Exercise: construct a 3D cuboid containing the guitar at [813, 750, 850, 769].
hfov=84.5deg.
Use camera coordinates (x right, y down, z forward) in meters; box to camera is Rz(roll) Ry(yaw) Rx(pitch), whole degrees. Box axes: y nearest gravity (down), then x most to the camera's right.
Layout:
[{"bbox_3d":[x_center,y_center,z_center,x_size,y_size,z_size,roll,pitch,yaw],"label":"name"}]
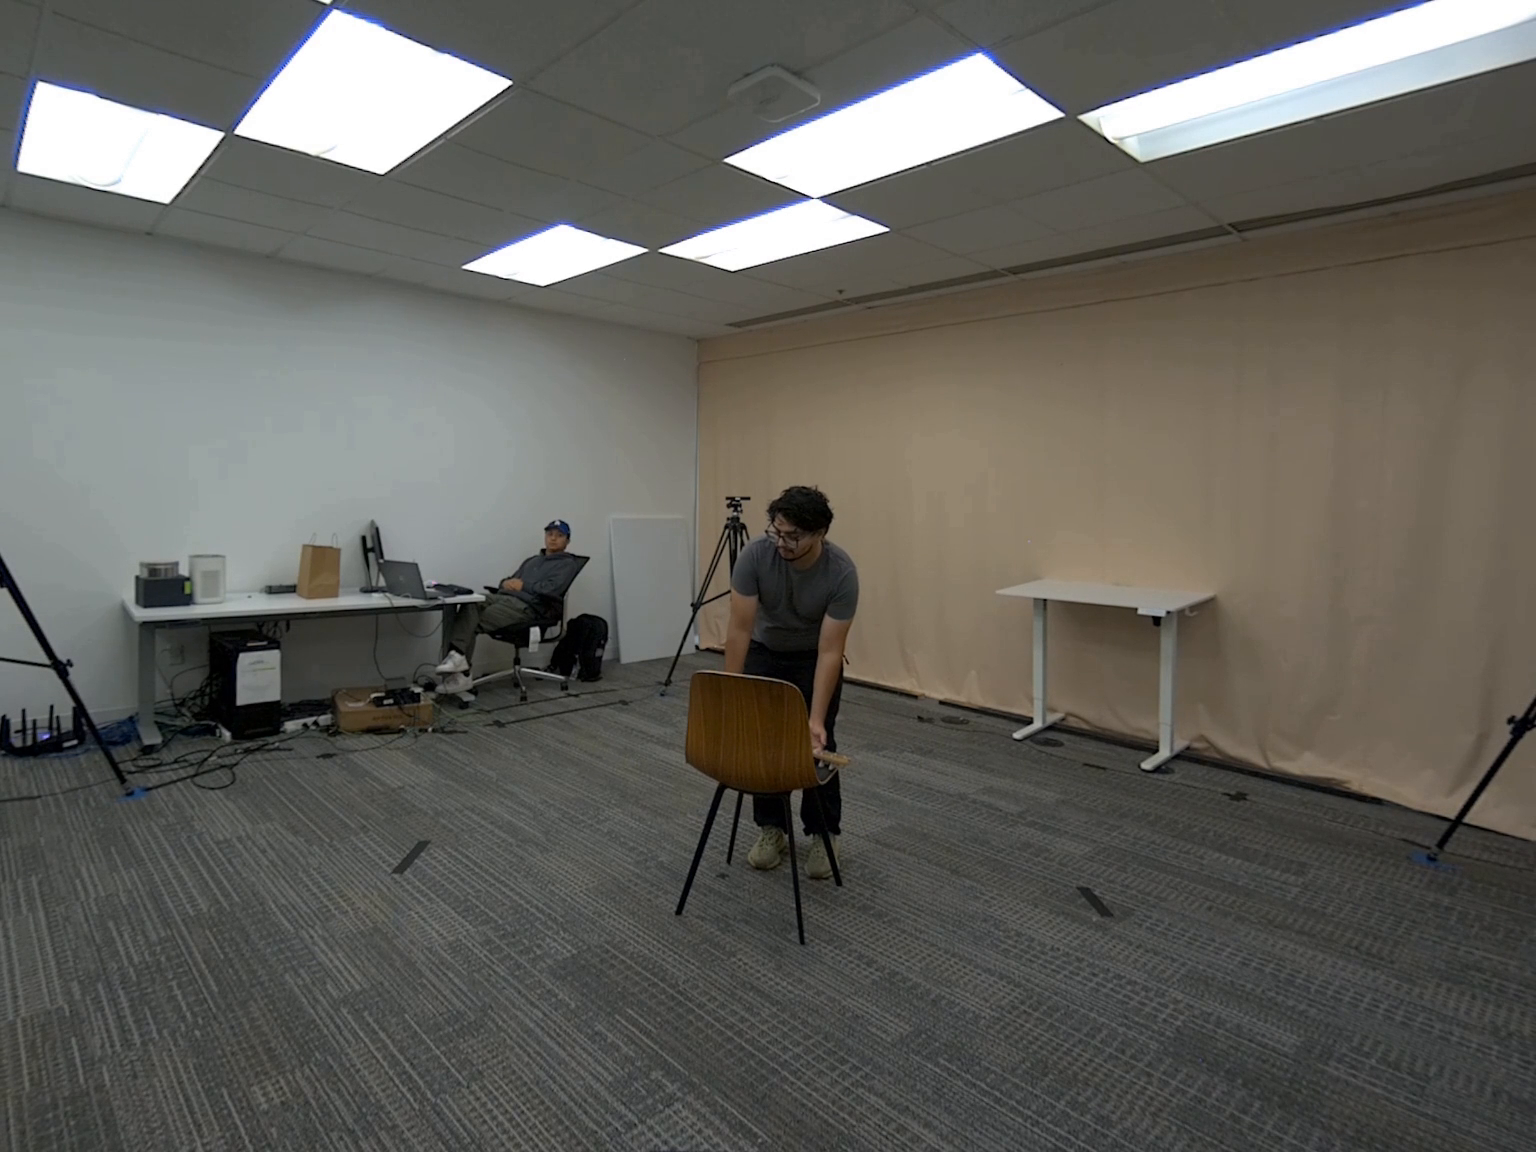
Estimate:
[{"bbox_3d":[0.048,0.622,2.923,0.189,0.070,0.511,-6,11,-42],"label":"guitar"}]
